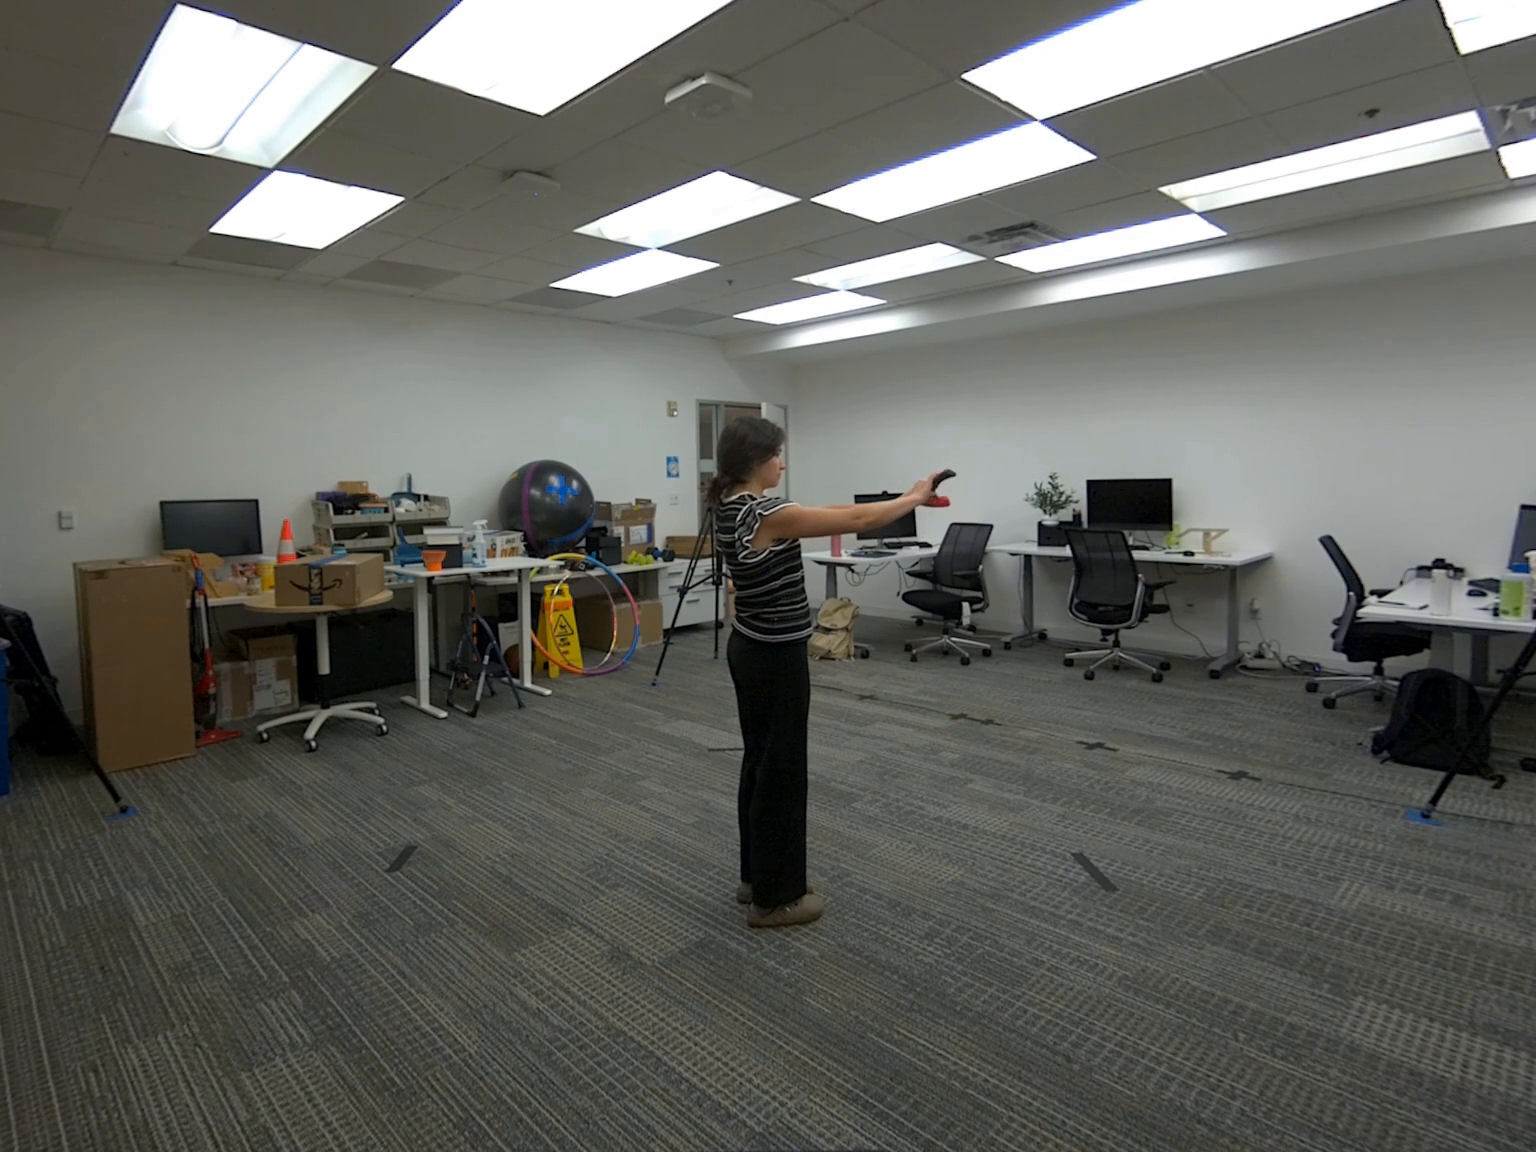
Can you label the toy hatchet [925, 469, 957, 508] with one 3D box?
[{"bbox_3d":[0.571,-0.272,2.763,0.129,0.030,0.271,22,-20,-12],"label":"toy hatchet"}]
